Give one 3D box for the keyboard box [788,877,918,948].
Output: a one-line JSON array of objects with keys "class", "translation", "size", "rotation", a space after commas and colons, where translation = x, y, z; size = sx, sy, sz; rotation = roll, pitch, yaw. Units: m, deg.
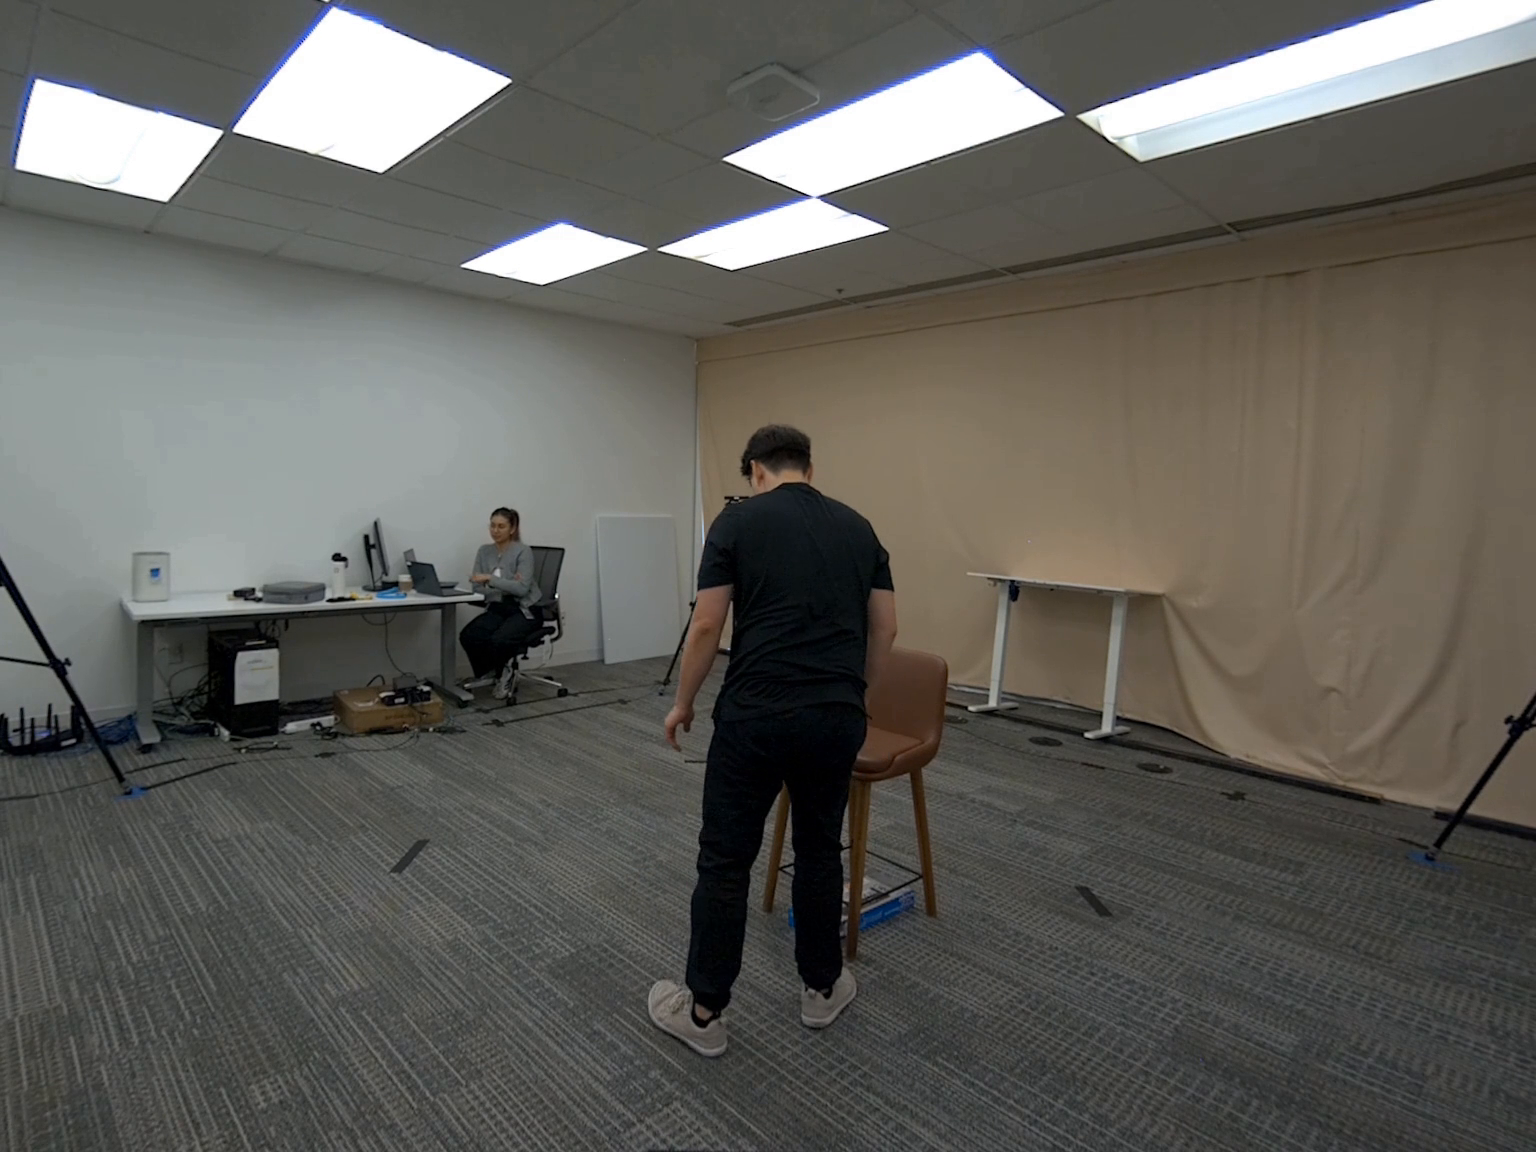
[{"class": "keyboard box", "translation": [0.287, 1.122, 2.818], "size": [0.427, 0.059, 0.180], "rotation": [-3, 7, -40]}]
